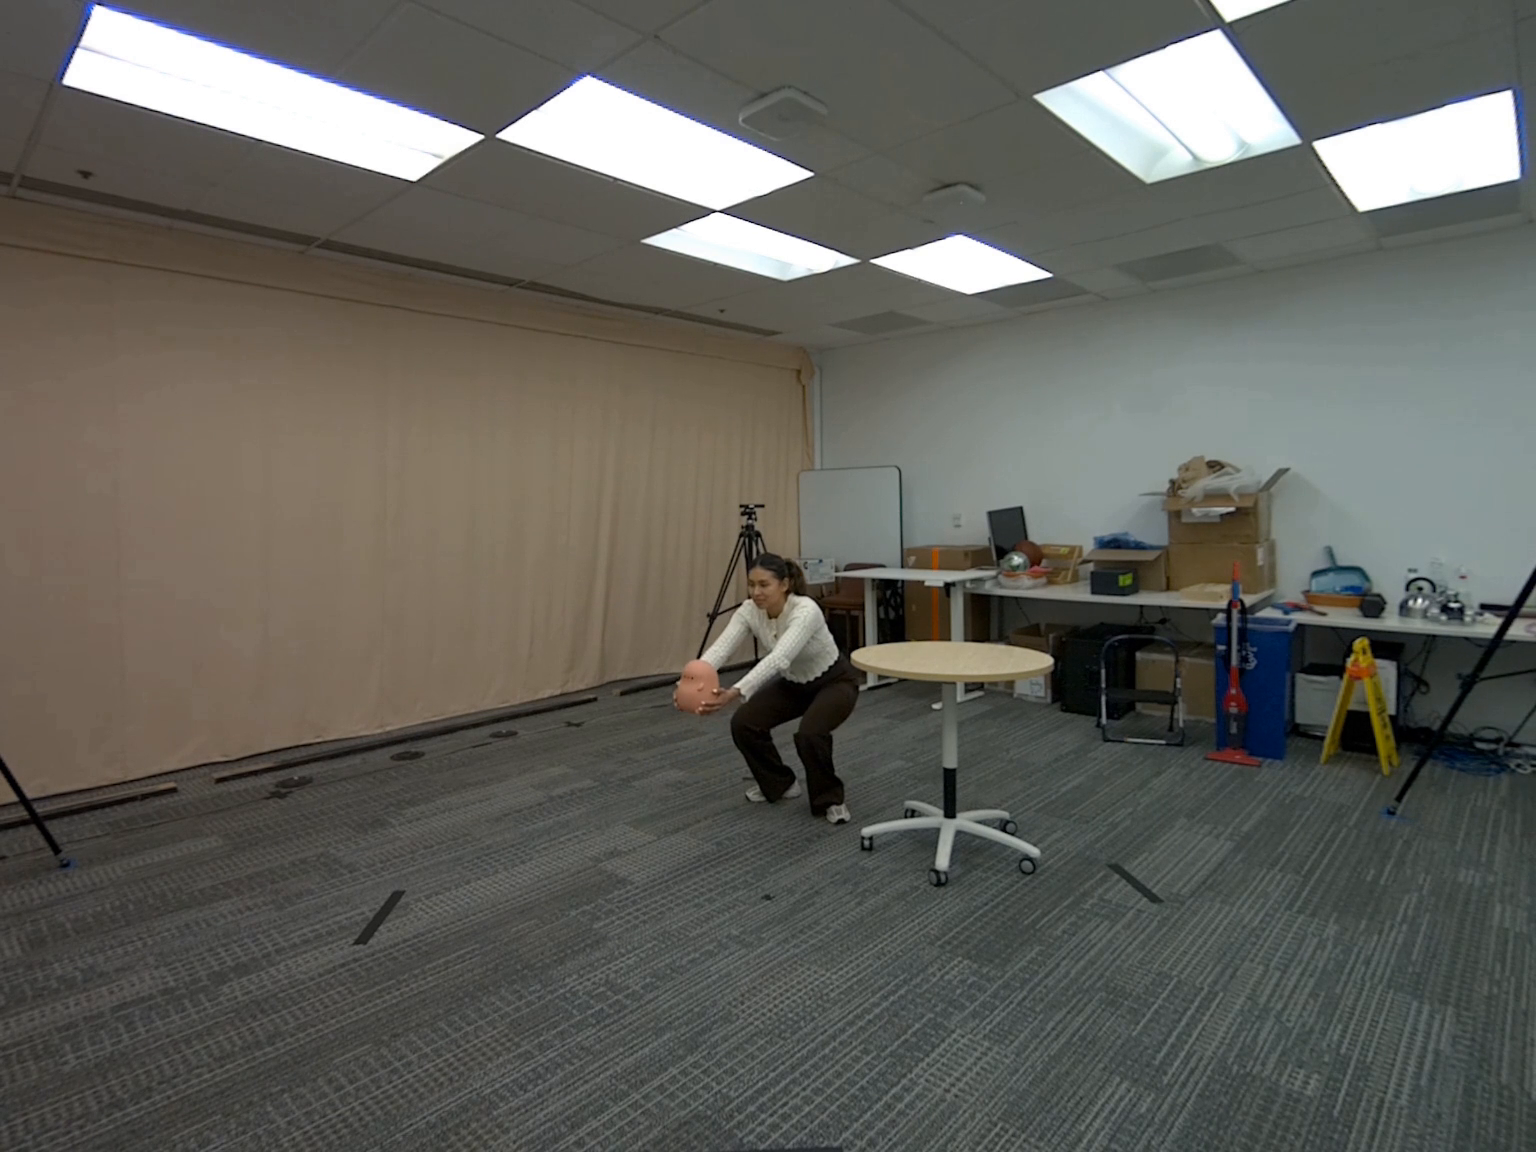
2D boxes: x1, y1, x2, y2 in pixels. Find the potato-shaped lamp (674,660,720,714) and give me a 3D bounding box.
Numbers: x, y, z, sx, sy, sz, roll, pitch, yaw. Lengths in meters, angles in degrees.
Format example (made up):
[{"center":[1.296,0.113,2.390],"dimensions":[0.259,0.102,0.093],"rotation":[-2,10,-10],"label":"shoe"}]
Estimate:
[{"center":[-0.272,0.426,3.301],"dimensions":[0.170,0.197,0.166],"rotation":[2,9,45],"label":"potato-shaped lamp"}]
